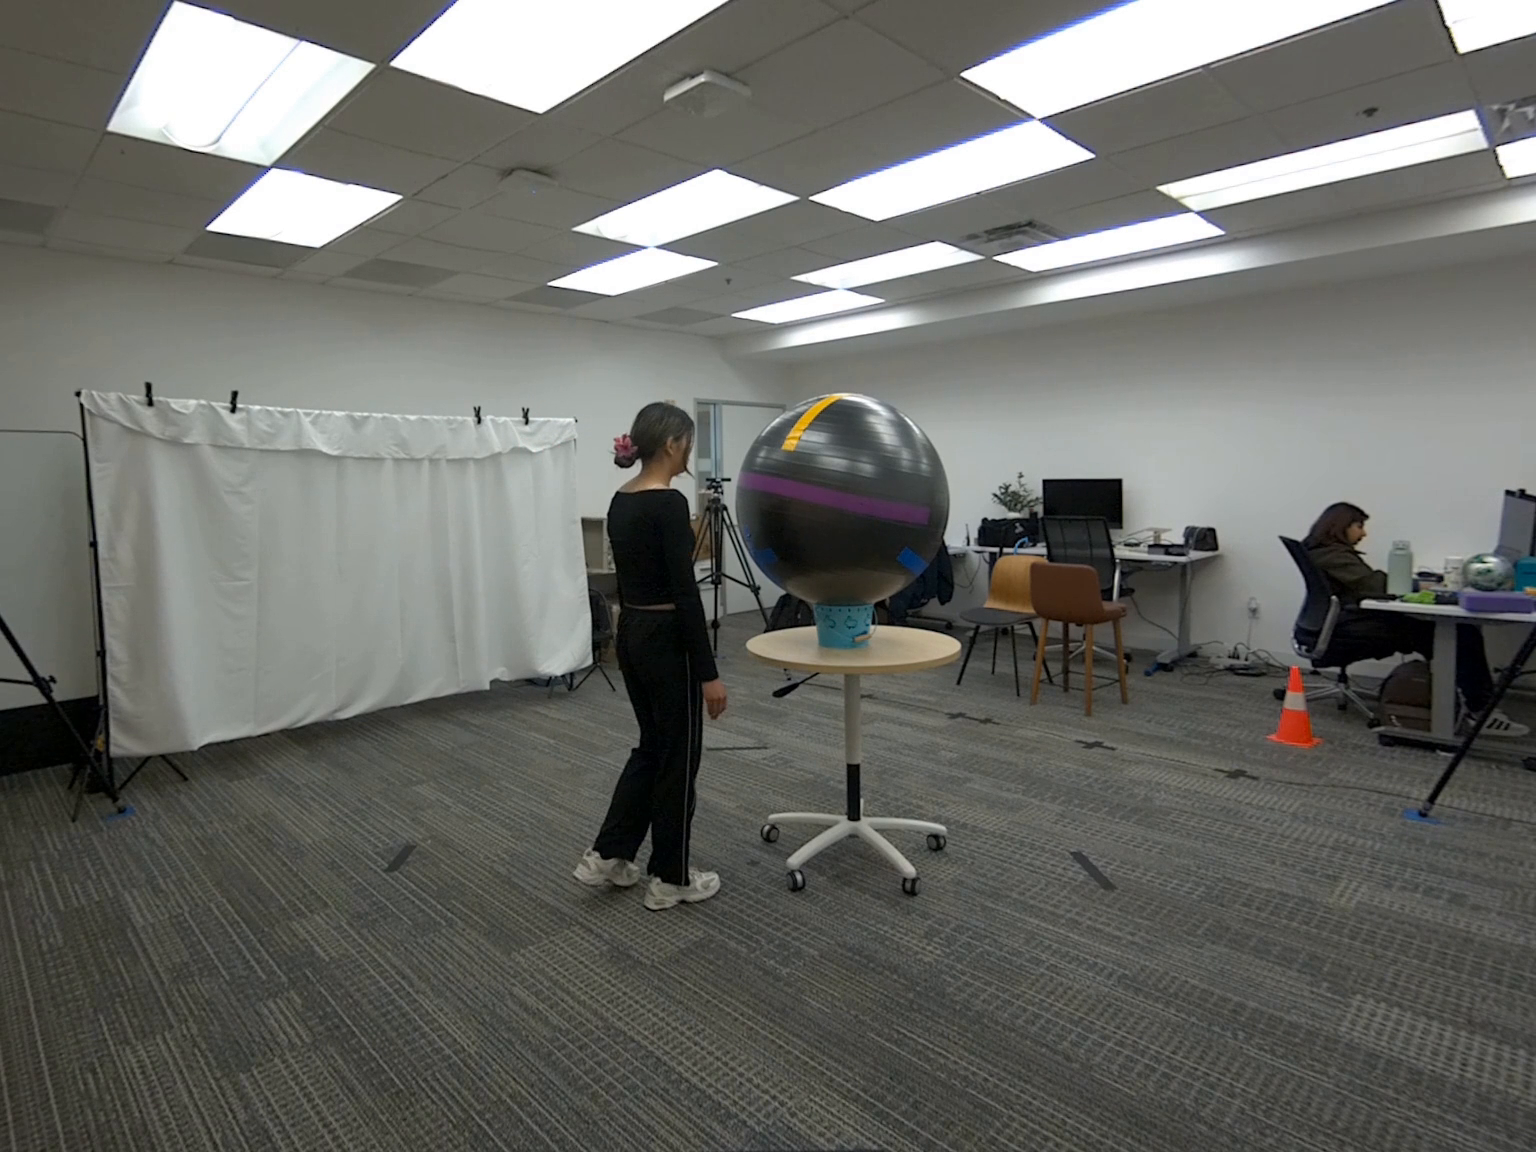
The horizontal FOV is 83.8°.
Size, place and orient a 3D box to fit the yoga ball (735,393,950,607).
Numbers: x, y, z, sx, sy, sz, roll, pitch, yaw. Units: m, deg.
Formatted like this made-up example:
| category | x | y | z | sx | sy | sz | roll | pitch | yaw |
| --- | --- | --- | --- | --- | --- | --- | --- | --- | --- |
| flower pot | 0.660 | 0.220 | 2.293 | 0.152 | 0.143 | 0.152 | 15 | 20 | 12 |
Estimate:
| category | x | y | z | sx | sy | sz | roll | pitch | yaw |
| --- | --- | --- | --- | --- | --- | --- | --- | --- | --- |
| yoga ball | 0.266 | -0.259 | 3.057 | 0.757 | 0.755 | 0.762 | -1 | 5 | -2 |
